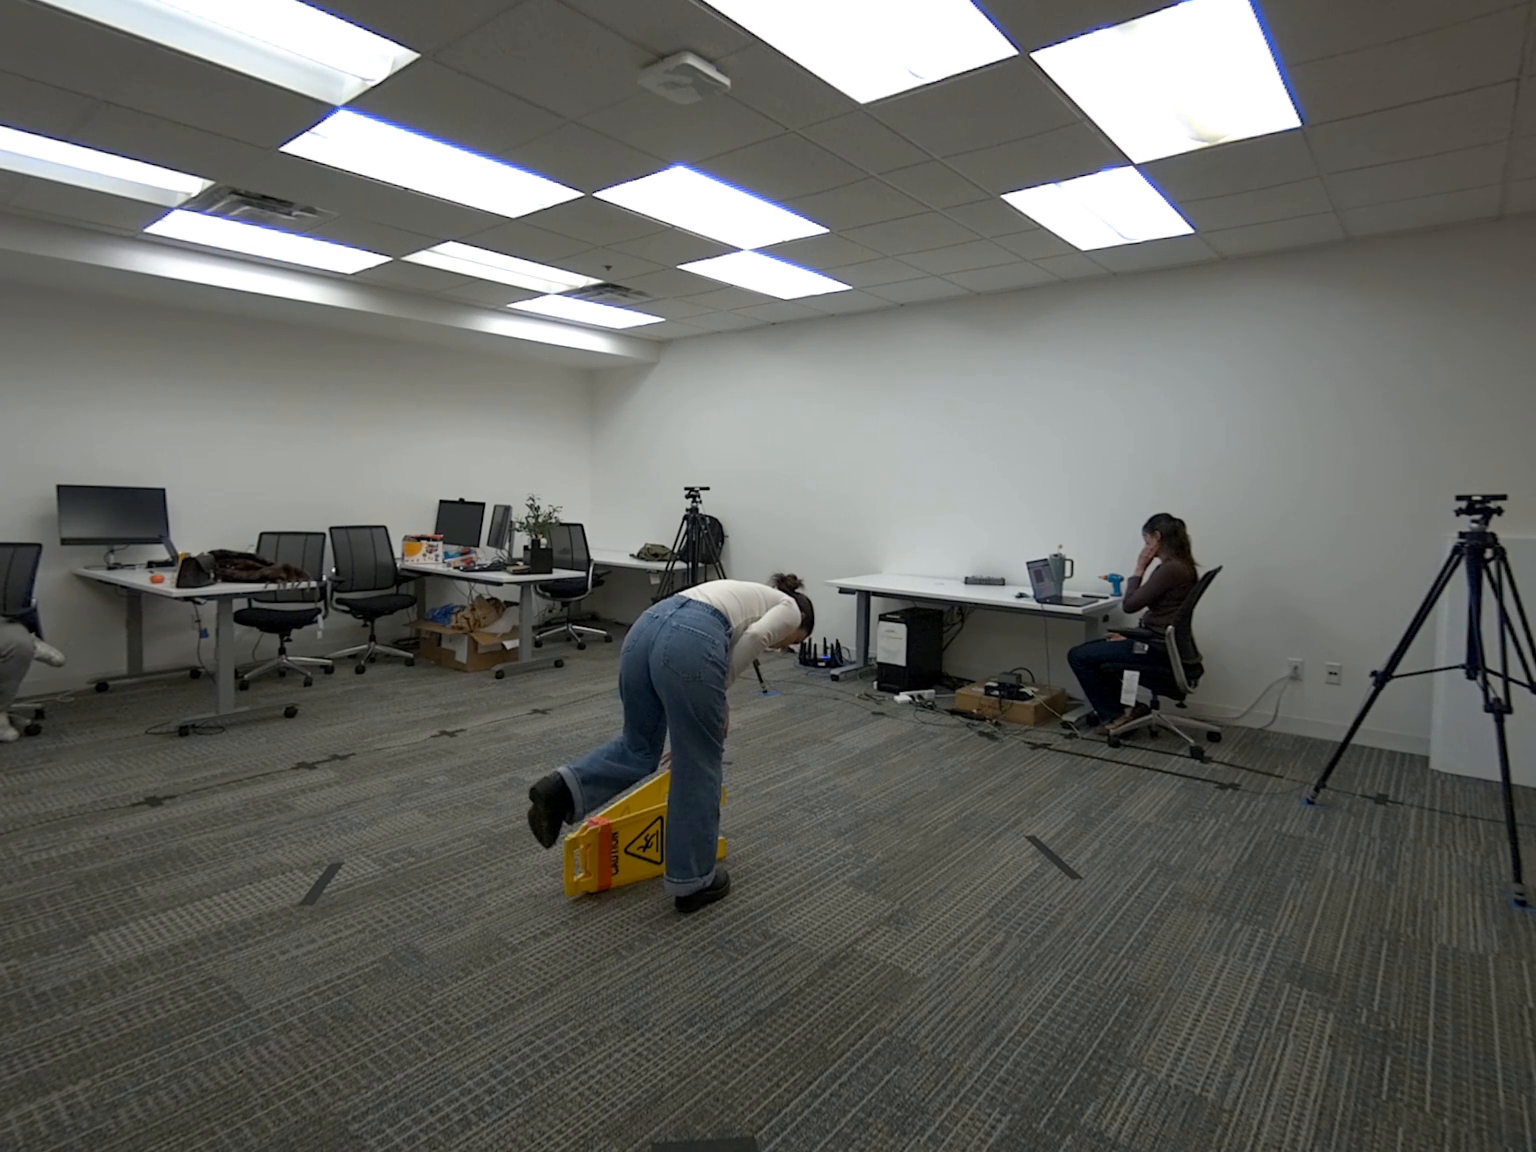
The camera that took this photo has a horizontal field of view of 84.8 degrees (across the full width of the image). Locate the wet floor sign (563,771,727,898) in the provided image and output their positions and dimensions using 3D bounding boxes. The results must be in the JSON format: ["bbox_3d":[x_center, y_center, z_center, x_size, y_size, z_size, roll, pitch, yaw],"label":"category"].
[{"bbox_3d":[-0.475,0.937,3.053,0.299,0.281,0.628,2,7,40],"label":"wet floor sign"}]
